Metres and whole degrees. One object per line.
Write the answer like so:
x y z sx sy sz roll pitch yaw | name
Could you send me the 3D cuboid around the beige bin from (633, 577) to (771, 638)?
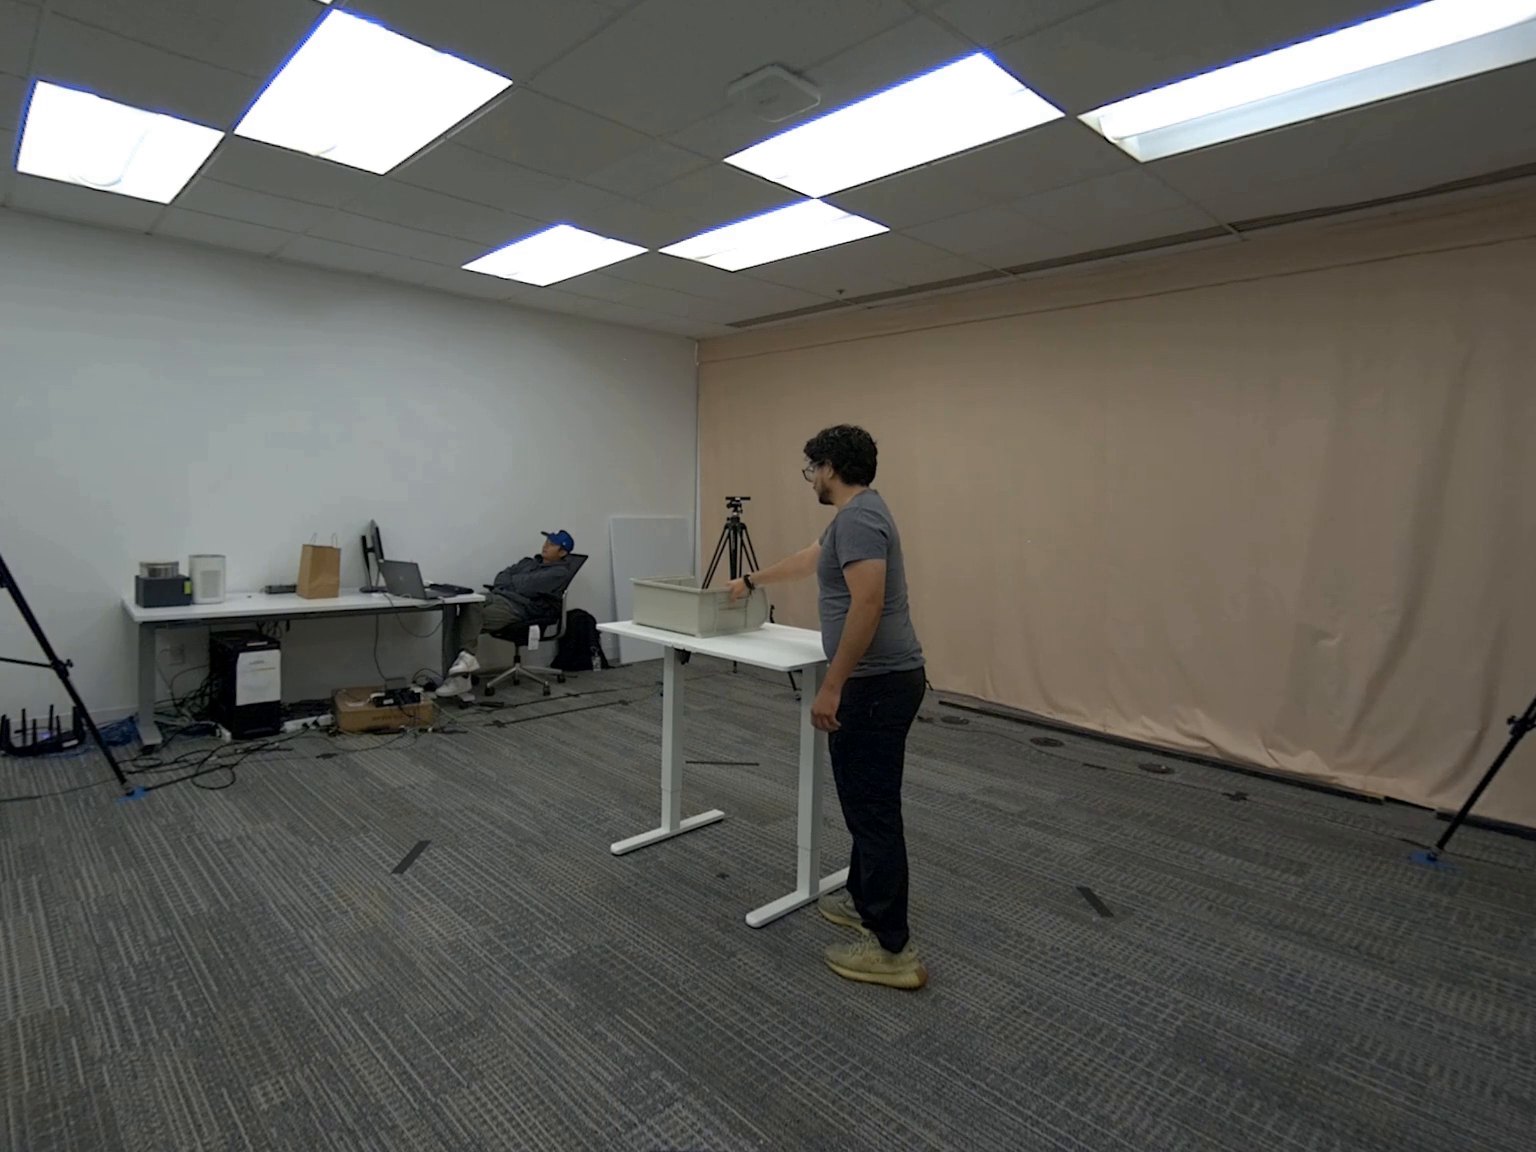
-0.274 0.113 3.306 0.369 0.188 0.433 -6 9 -44 | beige bin
